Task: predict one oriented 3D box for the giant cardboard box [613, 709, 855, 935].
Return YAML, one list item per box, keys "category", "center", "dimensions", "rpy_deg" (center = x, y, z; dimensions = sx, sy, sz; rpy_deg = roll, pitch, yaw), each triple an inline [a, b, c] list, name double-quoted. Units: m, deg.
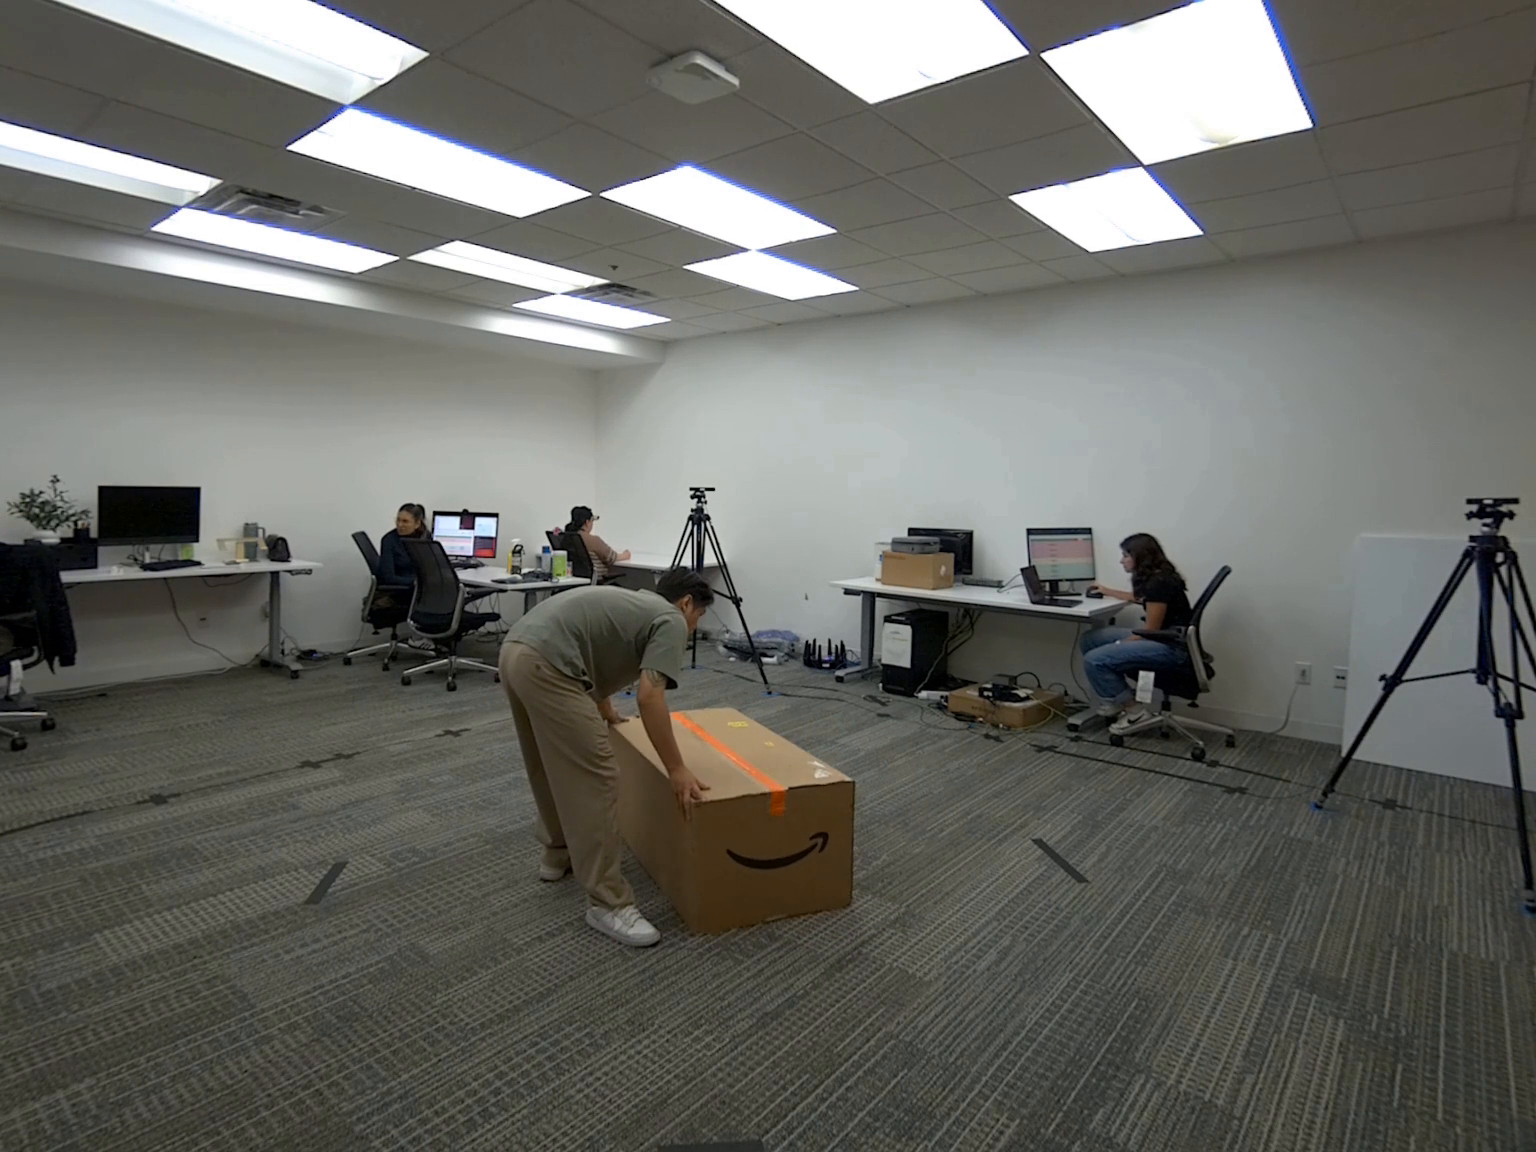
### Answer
- category: "giant cardboard box"
  center: [-0.200, 0.839, 3.193]
  dimensions: [0.564, 0.424, 1.054]
  rpy_deg: [-3, 6, -25]
